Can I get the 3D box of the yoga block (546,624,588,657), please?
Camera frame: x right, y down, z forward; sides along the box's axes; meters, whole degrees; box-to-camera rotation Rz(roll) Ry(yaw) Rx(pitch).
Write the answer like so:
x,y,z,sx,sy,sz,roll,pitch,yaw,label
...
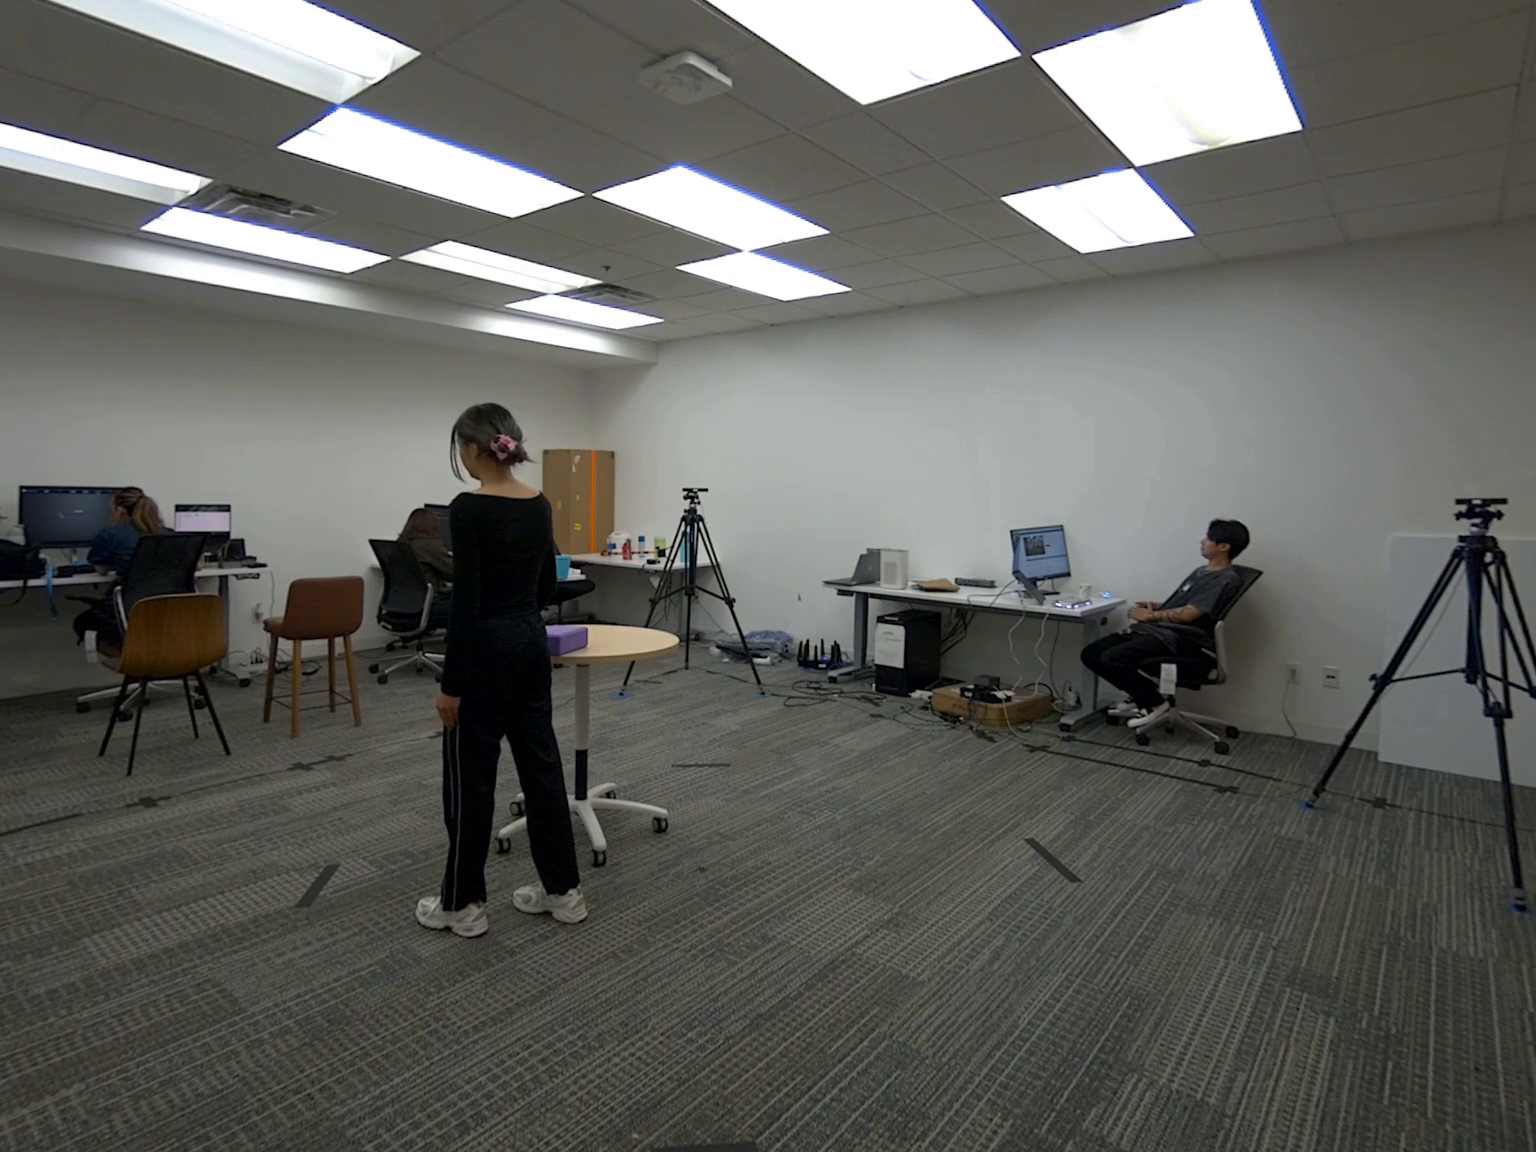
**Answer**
x,y,z,sx,sy,sz,roll,pitch,yaw,label
-0.792,0.234,3.124,0.152,0.076,0.226,1,4,16,yoga block
